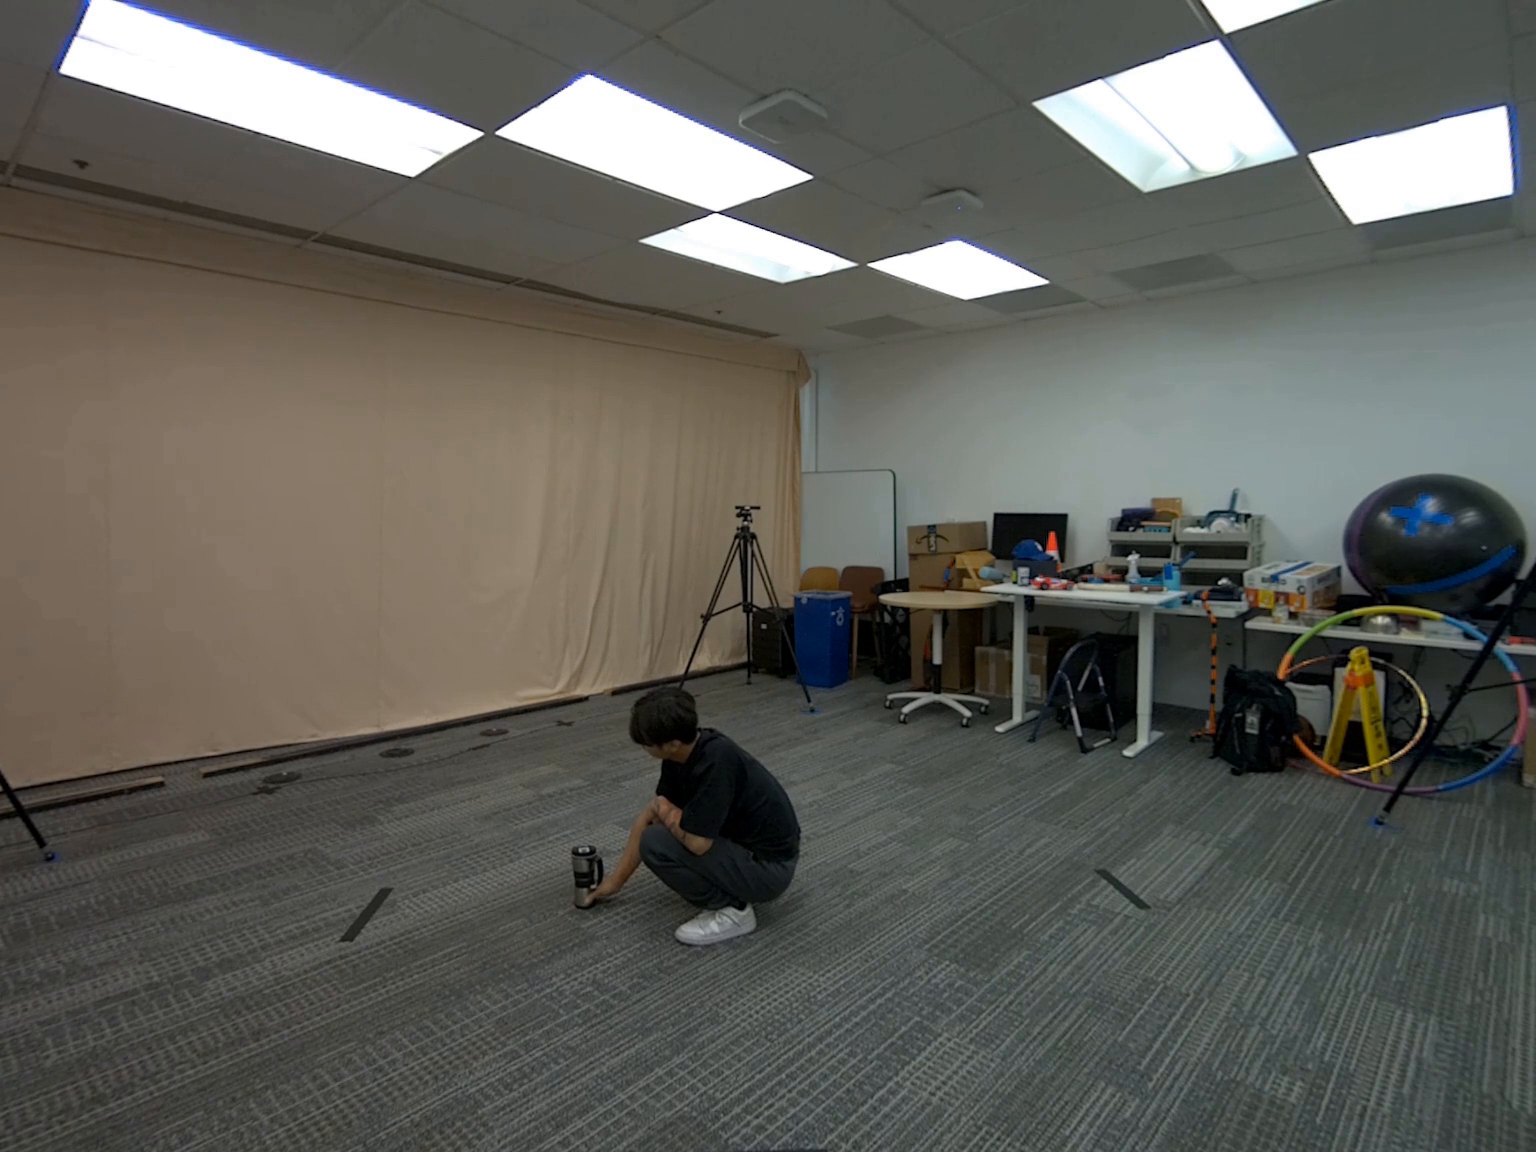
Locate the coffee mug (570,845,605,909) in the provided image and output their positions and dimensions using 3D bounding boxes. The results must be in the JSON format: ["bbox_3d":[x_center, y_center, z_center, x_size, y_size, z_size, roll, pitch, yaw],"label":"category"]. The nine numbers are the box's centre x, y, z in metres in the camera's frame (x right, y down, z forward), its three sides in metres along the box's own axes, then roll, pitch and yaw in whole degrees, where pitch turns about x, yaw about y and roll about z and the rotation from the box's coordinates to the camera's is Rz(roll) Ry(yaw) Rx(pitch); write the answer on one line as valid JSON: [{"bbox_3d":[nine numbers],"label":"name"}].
[{"bbox_3d":[-0.629,1.060,2.926,0.126,0.203,0.085,-2,-2,41],"label":"coffee mug"}]
